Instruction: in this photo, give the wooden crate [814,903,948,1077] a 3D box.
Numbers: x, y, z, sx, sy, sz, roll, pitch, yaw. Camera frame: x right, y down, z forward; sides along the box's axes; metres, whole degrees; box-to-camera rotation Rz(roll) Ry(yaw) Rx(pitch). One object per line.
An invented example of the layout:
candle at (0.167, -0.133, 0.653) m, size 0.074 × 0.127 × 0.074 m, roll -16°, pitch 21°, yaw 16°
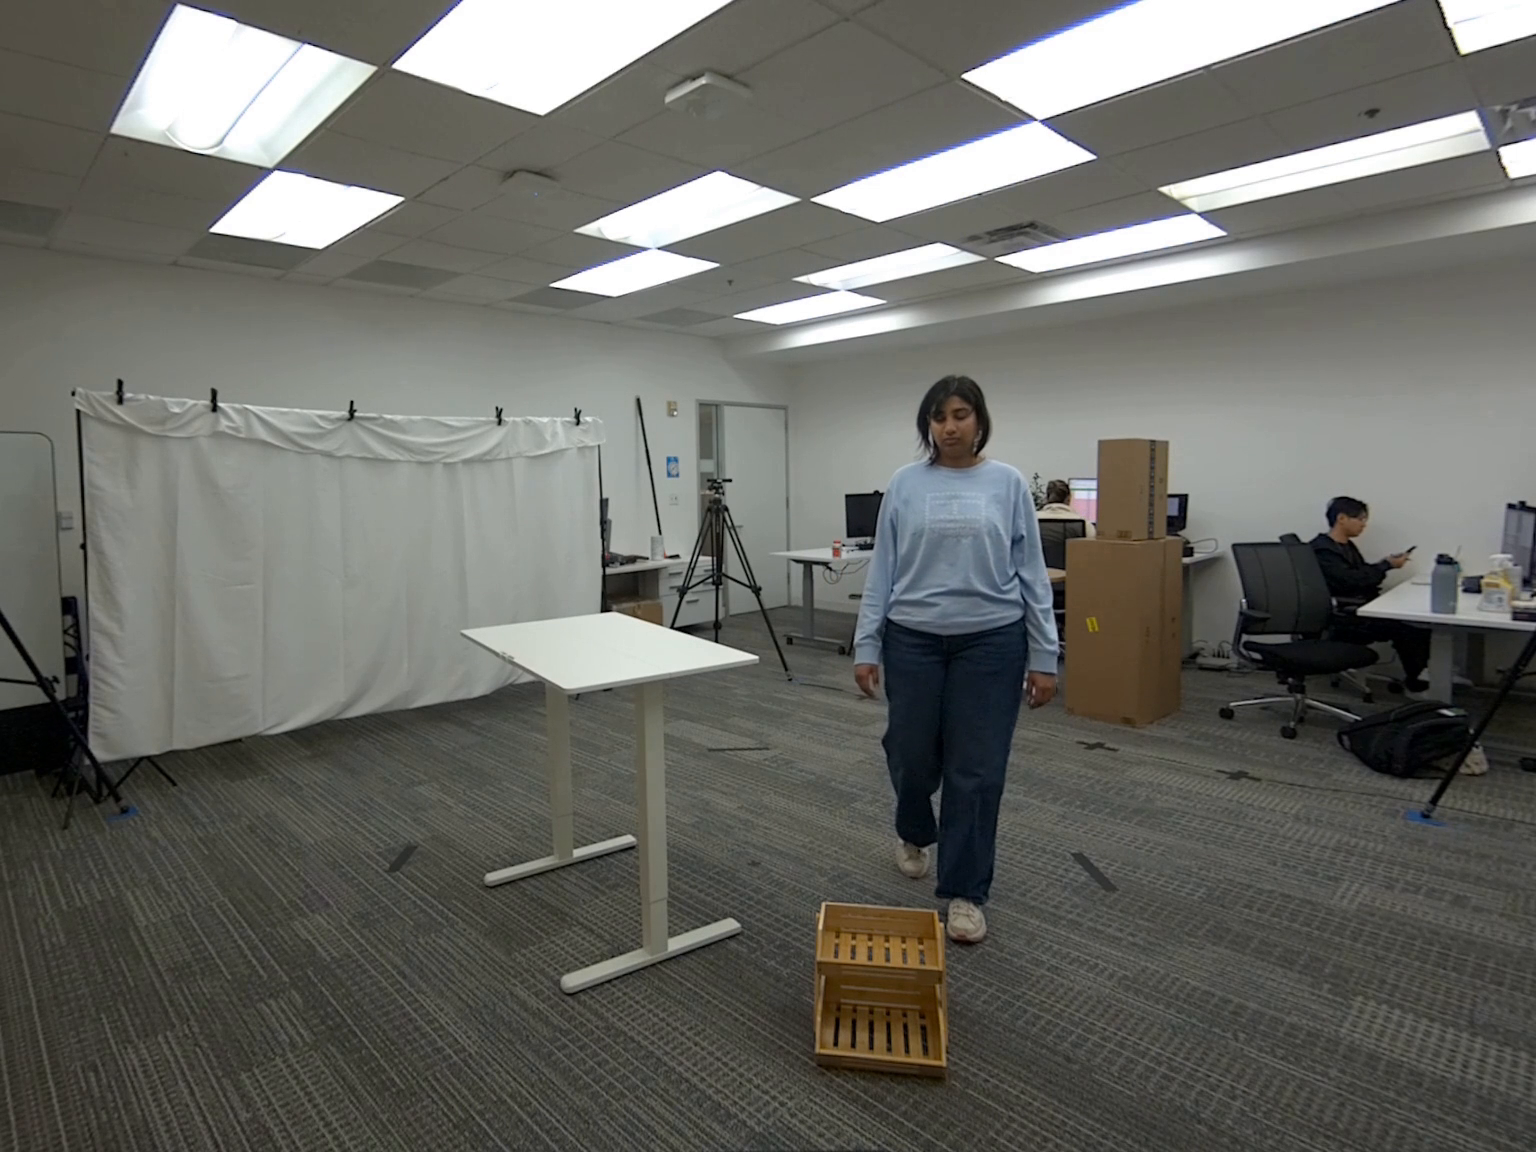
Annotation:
wooden crate at (0.290, 1.025, 2.114) m, size 0.327 × 0.272 × 0.300 m, roll 0°, pitch 5°, yaw 9°
